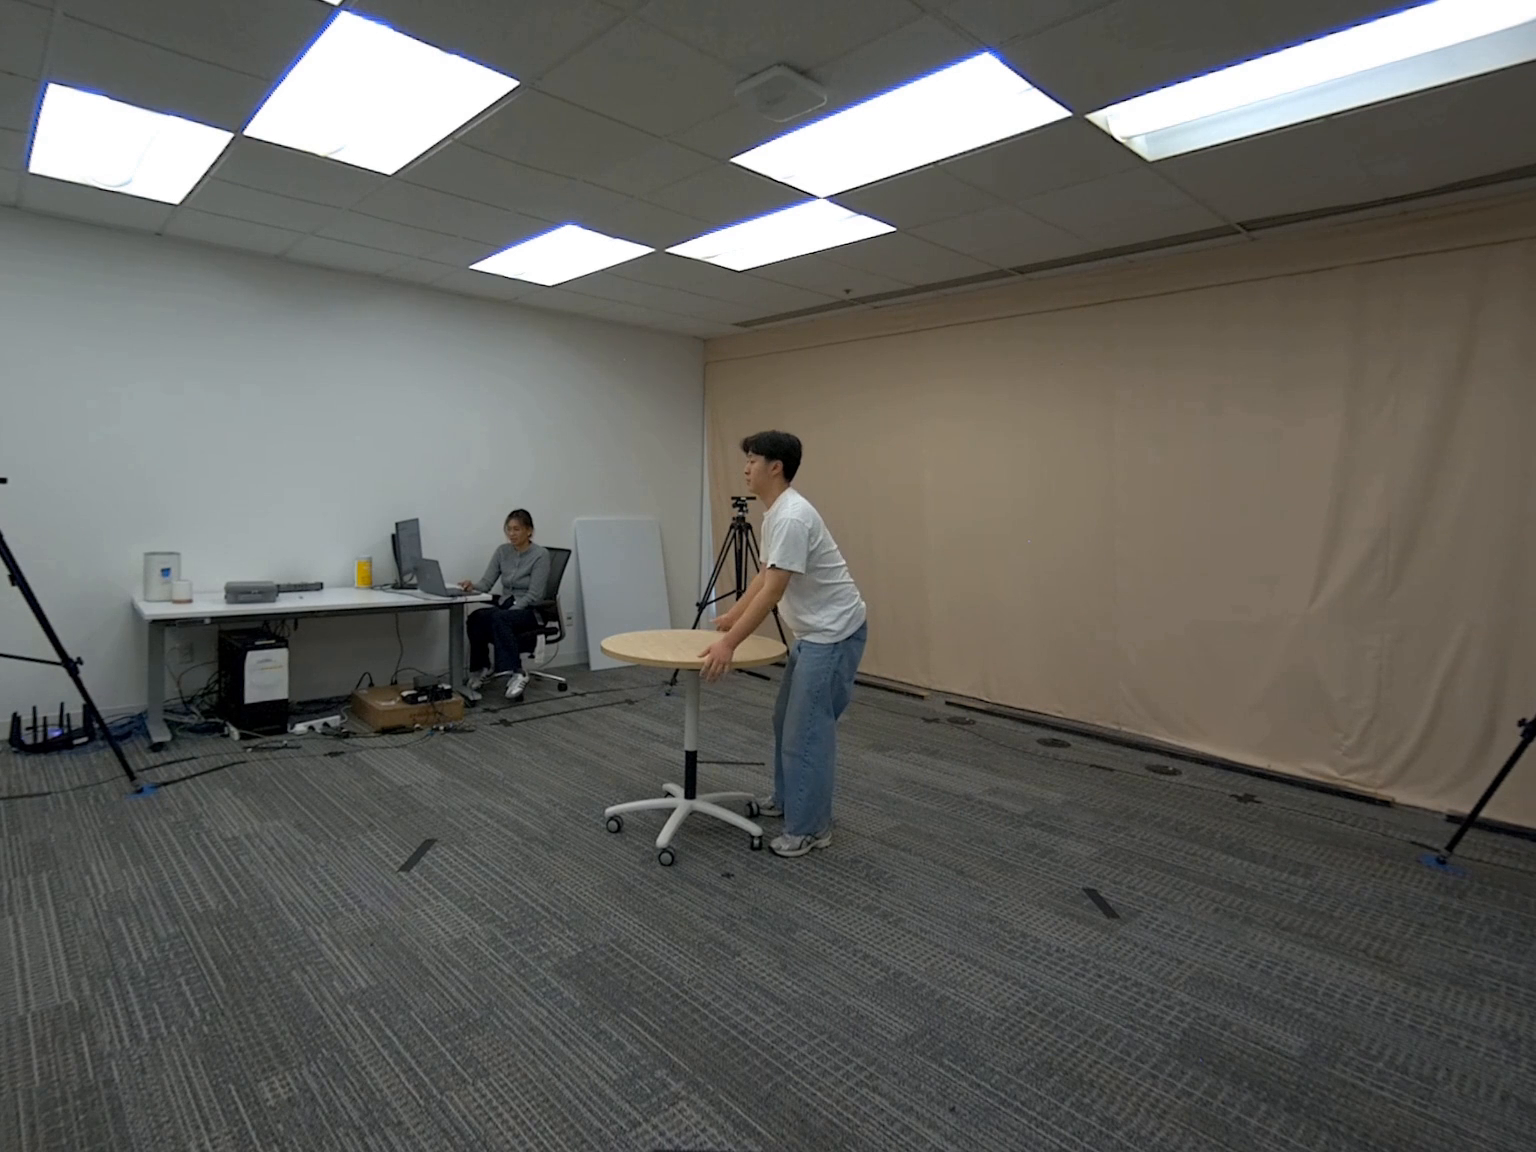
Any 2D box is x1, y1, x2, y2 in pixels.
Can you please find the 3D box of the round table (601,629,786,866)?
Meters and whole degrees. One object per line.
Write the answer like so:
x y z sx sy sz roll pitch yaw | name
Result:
-0.329 0.669 3.475 0.784 0.784 0.788 2 4 -1 | round table
